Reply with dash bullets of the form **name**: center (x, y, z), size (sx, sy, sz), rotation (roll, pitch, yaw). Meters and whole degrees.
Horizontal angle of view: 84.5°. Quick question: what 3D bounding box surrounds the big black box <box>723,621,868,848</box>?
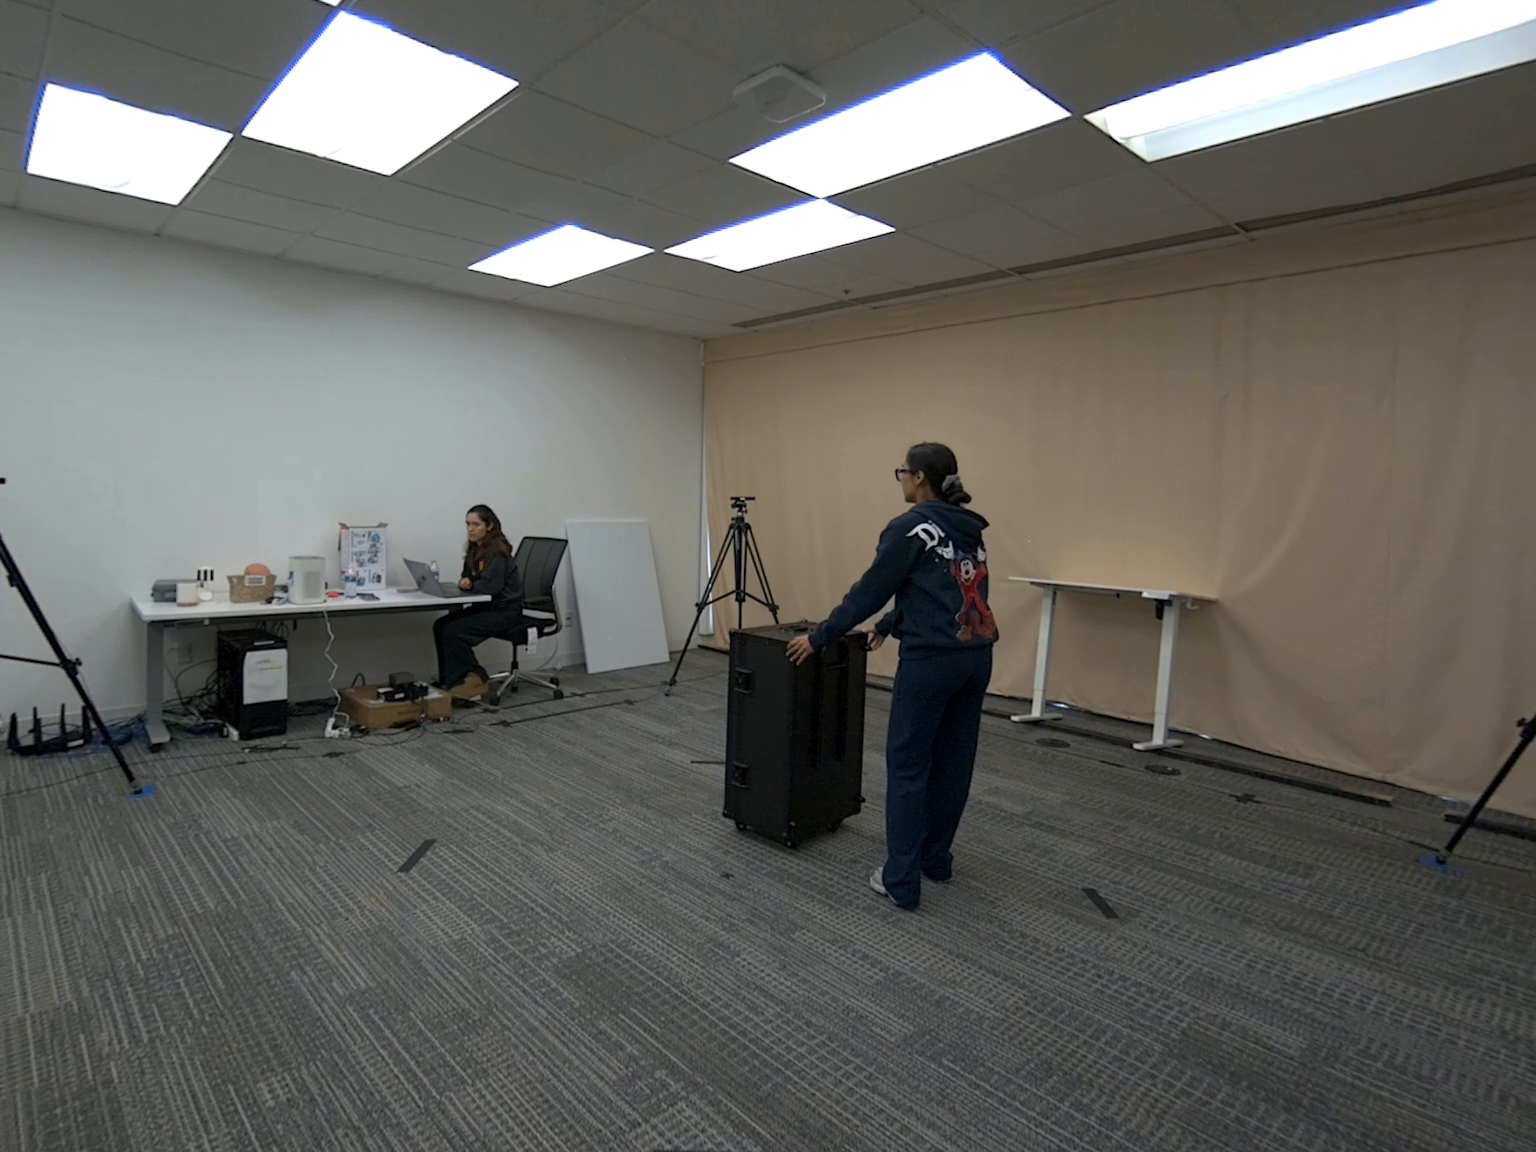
- **big black box**: center (0.120, 0.654, 3.530), size (0.407, 0.859, 0.509), rotation (7, 6, 43)
